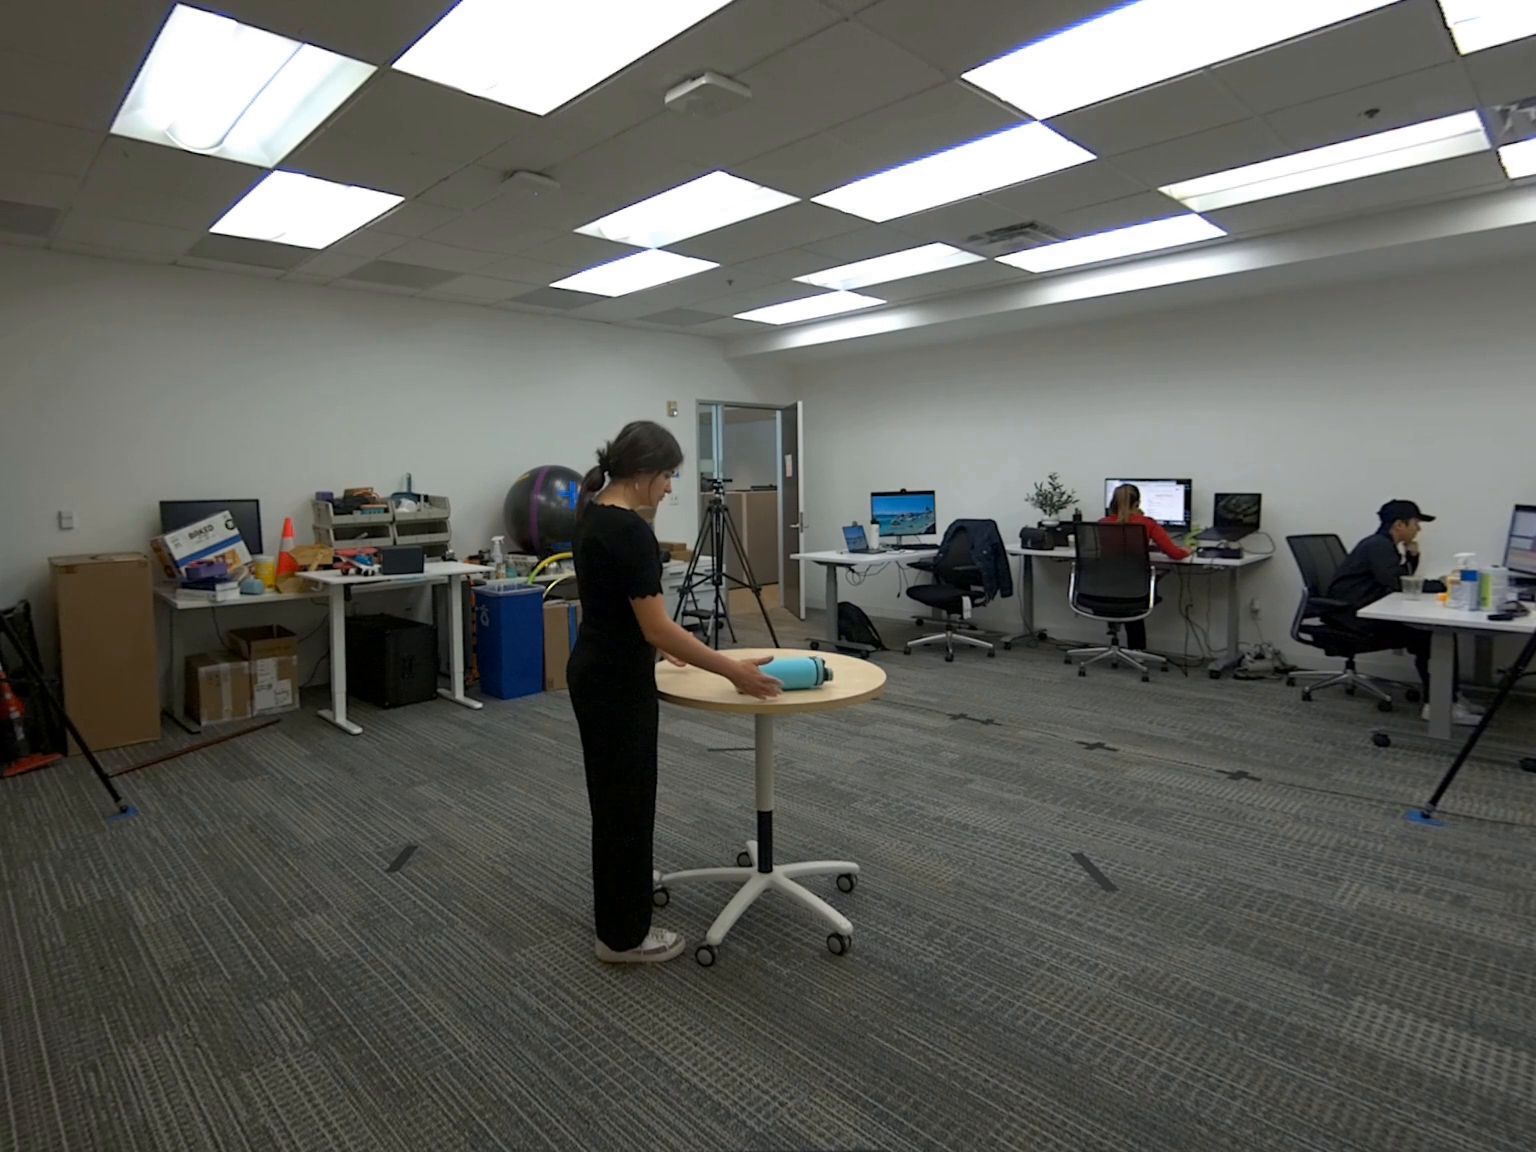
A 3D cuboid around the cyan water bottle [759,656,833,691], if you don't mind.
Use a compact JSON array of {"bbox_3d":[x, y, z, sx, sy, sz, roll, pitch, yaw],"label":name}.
[{"bbox_3d":[0.049,0.282,2.488,0.279,0.092,0.094,-3,5,-16],"label":"cyan water bottle"}]
